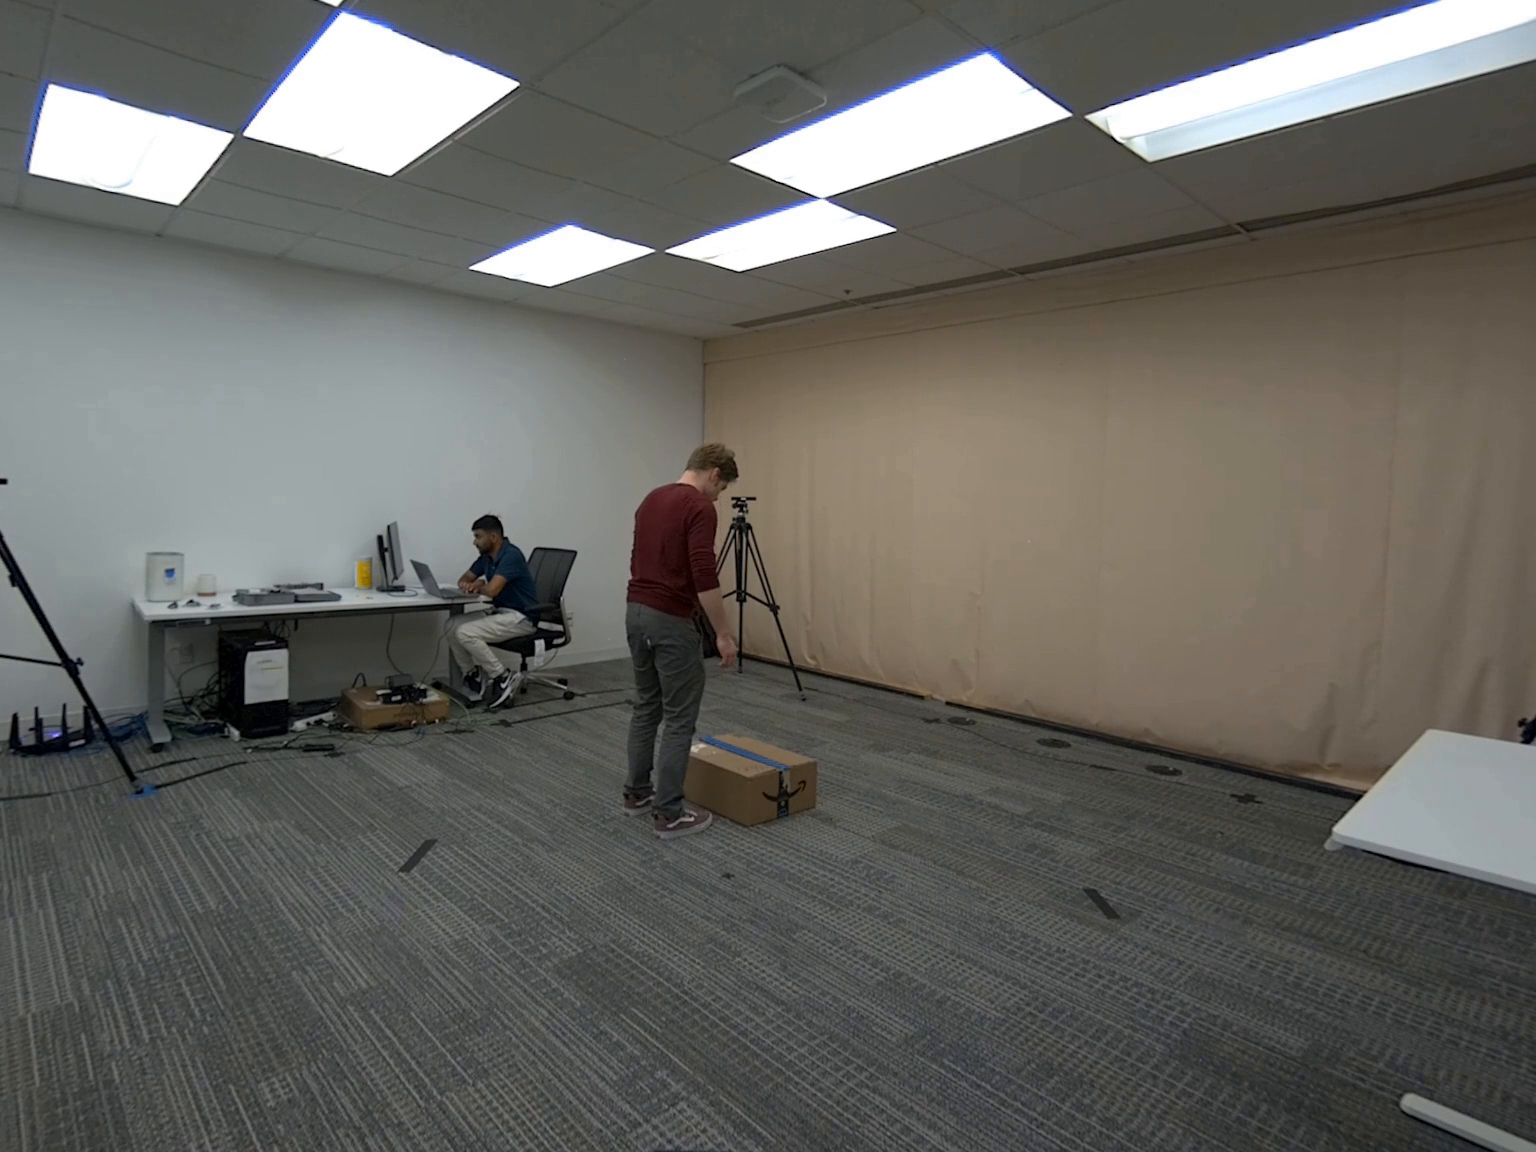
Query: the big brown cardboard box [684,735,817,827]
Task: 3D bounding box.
[{"bbox_3d":[-0.134,0.921,3.904,0.408,0.232,0.604,-2,6,-42],"label":"big brown cardboard box"}]
